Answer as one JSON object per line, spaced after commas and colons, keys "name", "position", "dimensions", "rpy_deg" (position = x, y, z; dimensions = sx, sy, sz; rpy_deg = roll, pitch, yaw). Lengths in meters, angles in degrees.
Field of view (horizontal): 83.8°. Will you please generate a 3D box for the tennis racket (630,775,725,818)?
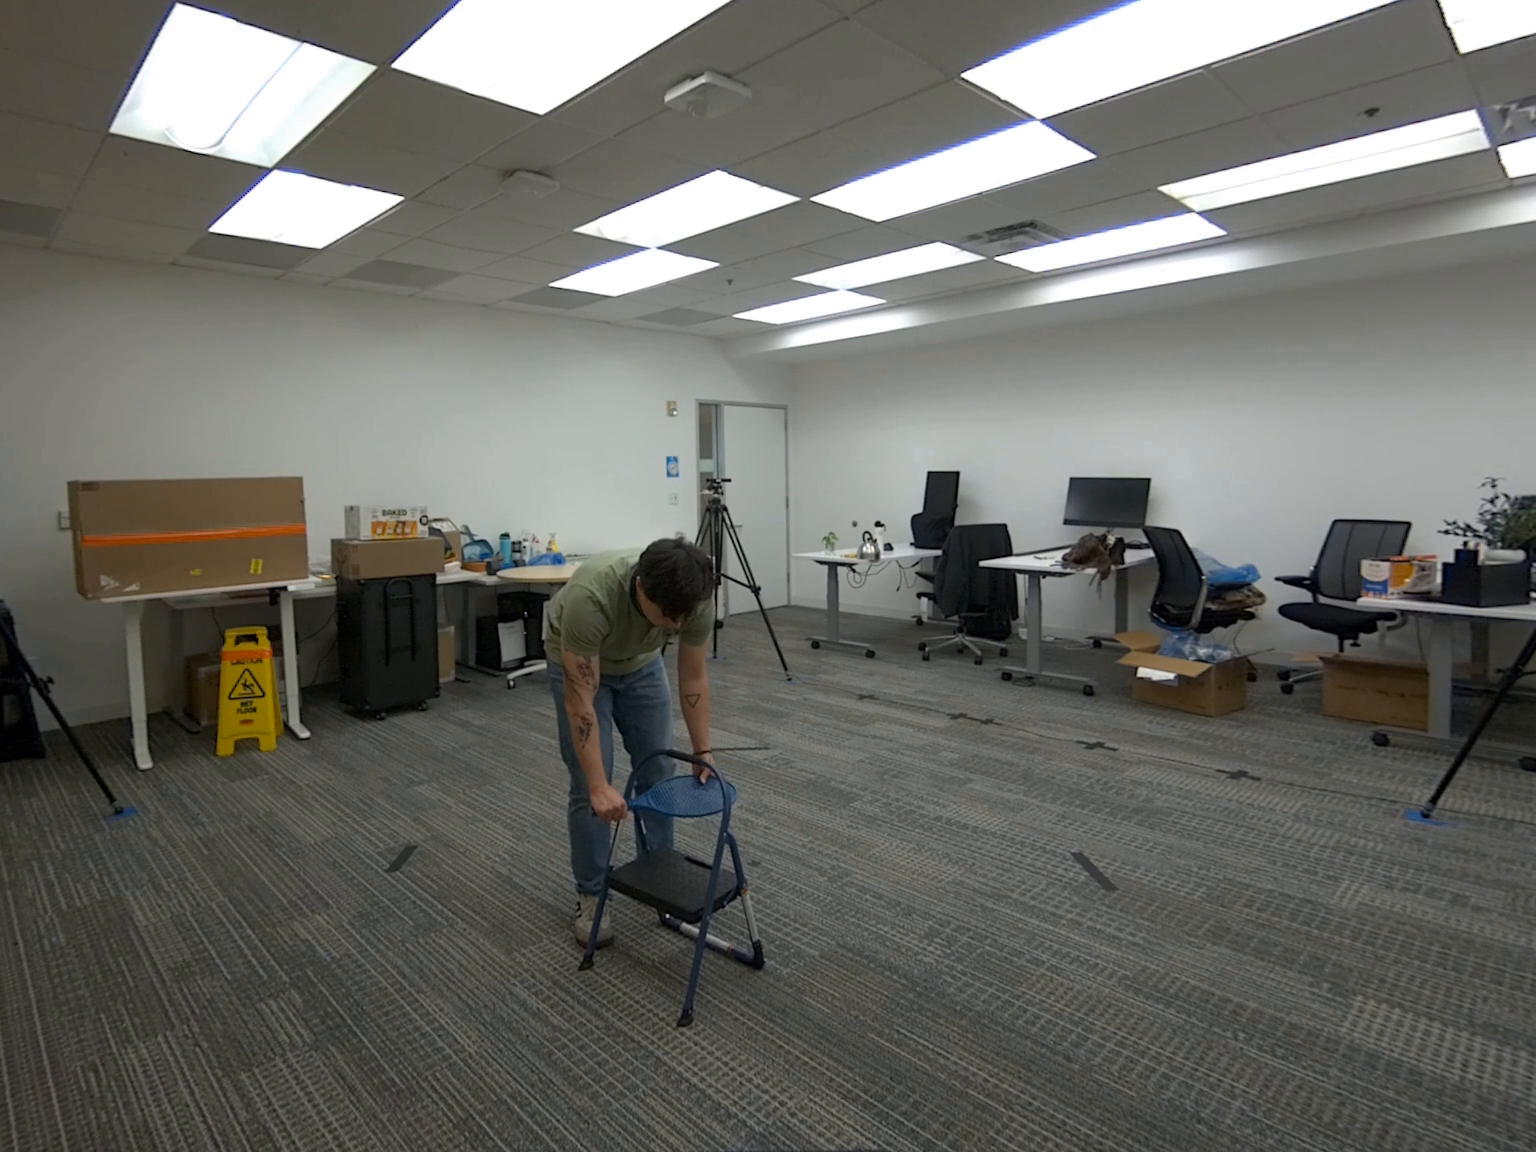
{"name": "tennis racket", "position": [-0.298, 0.644, 2.438], "dimensions": [0.426, 0.031, 0.220], "rpy_deg": [-4, 18, -18]}
